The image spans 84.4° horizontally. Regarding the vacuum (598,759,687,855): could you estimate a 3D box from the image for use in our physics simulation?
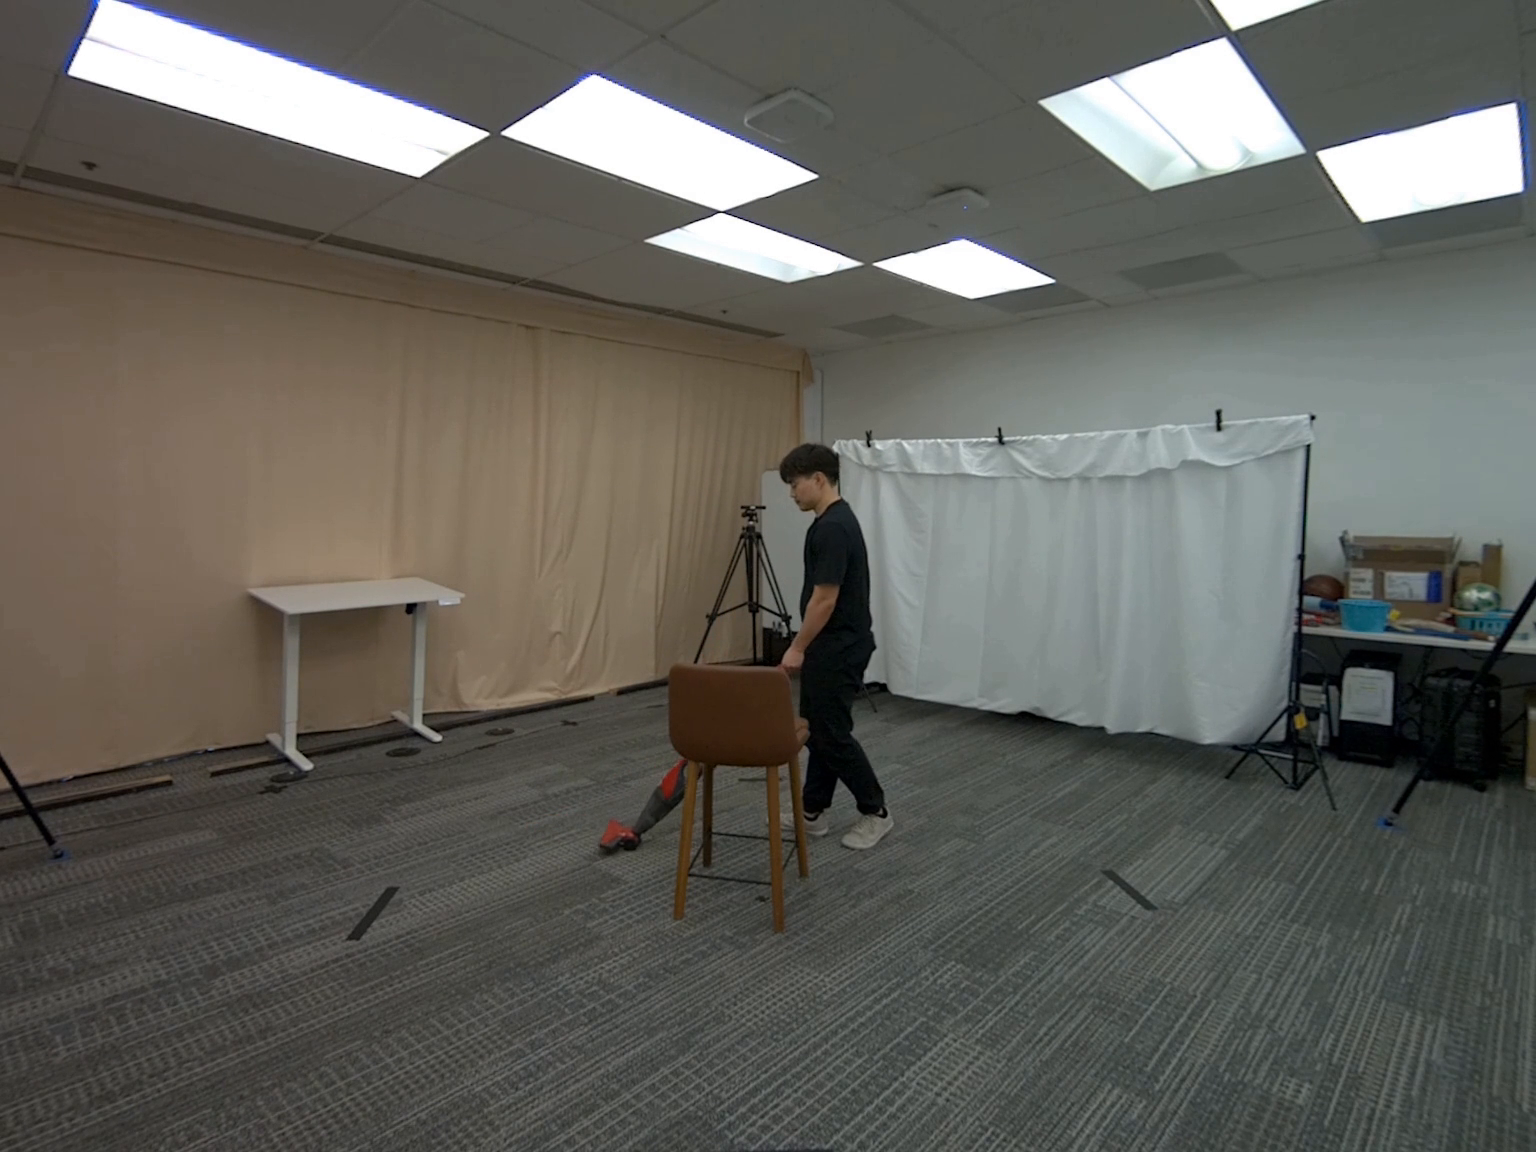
[{"bbox_3d":[-0.253,0.725,3.445,0.144,1.051,0.252,45,4,0],"label":"vacuum"}]
